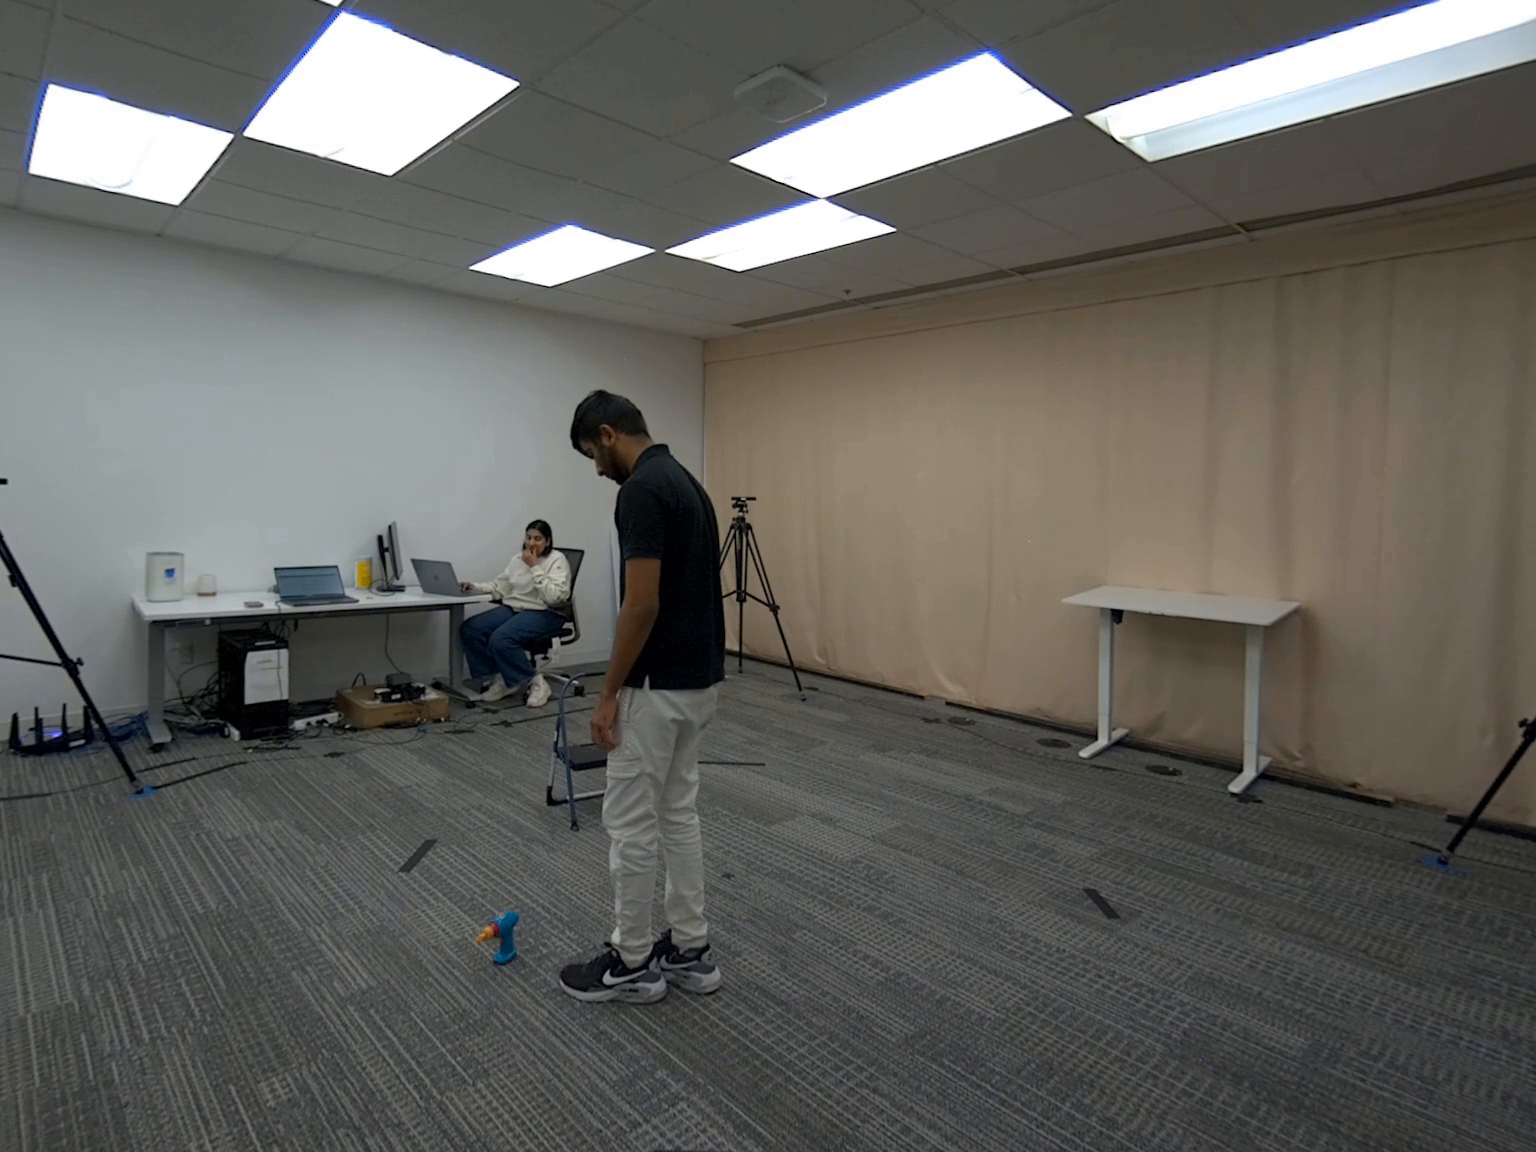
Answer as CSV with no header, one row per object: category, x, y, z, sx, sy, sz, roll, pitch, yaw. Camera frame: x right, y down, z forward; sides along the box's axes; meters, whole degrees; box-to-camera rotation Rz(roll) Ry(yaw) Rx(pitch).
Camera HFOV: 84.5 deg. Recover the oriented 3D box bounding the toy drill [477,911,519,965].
toy drill,-0.801,1.078,2.475,0.062,0.145,0.167,5,5,22
